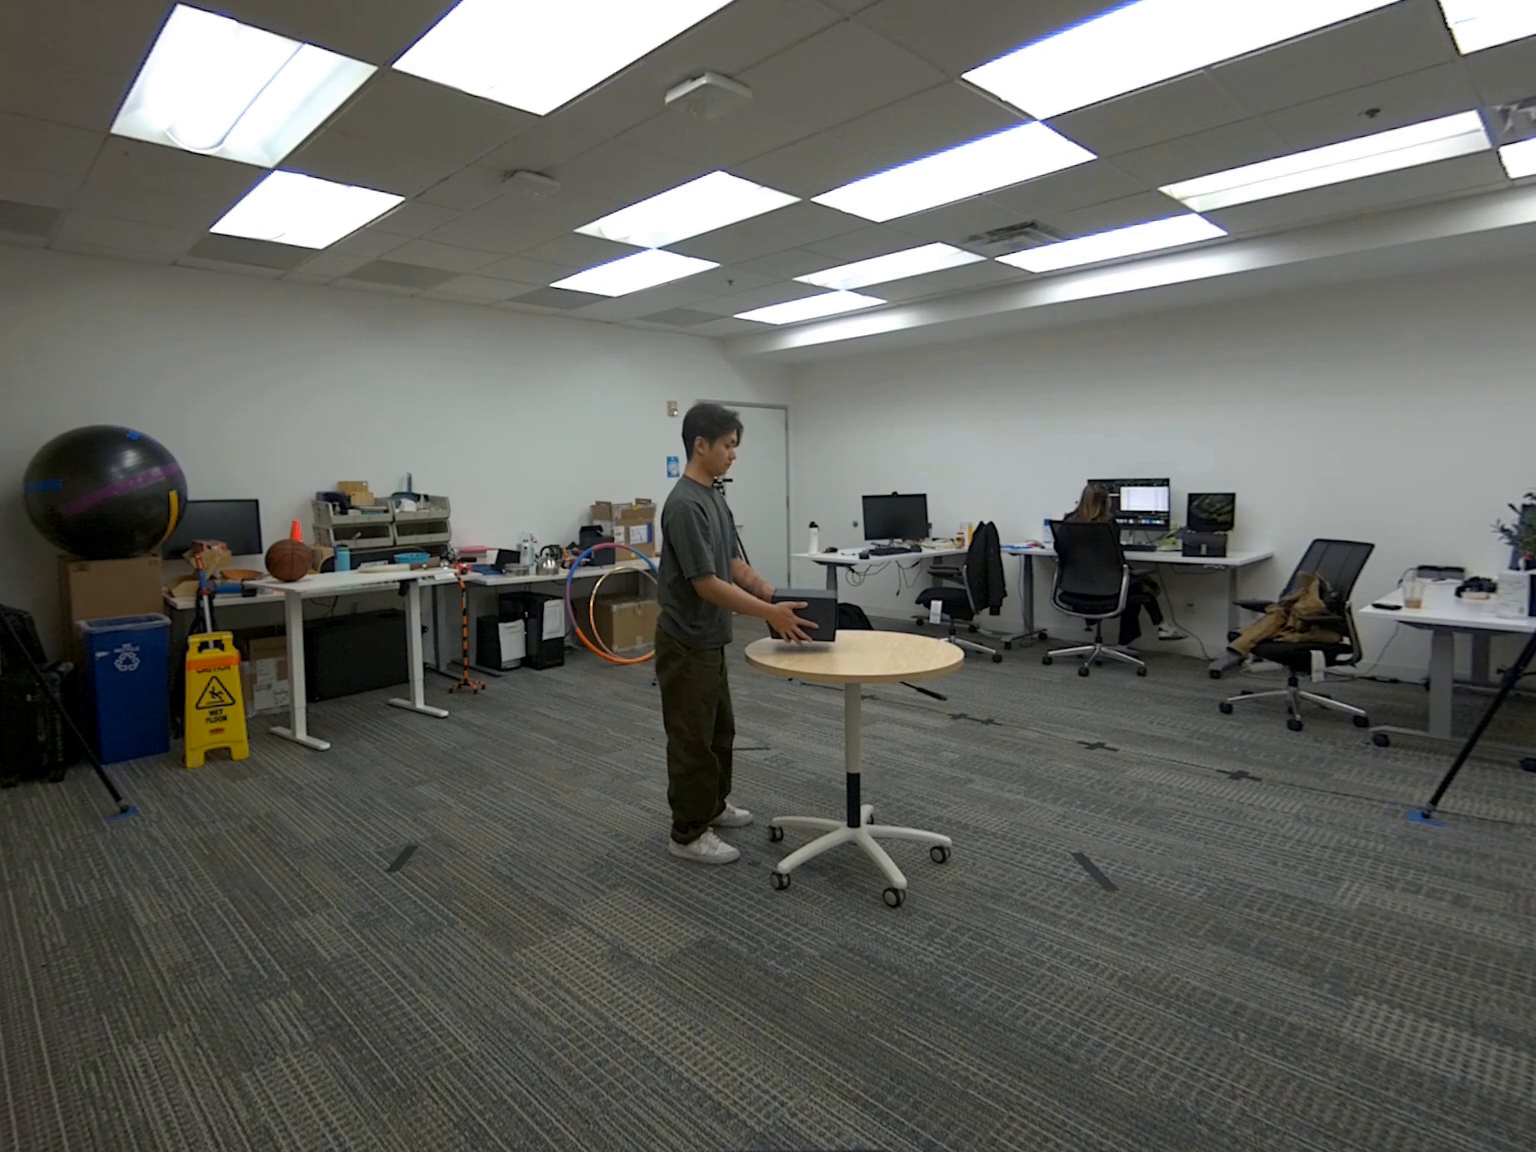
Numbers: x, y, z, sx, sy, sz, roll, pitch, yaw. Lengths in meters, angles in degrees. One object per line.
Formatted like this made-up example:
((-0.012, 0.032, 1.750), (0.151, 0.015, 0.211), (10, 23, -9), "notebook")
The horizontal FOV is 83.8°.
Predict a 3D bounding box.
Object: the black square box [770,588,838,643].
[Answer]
((0.135, 0.132, 3.086), (0.229, 0.155, 0.216), (2, 5, 6), "black square box")
